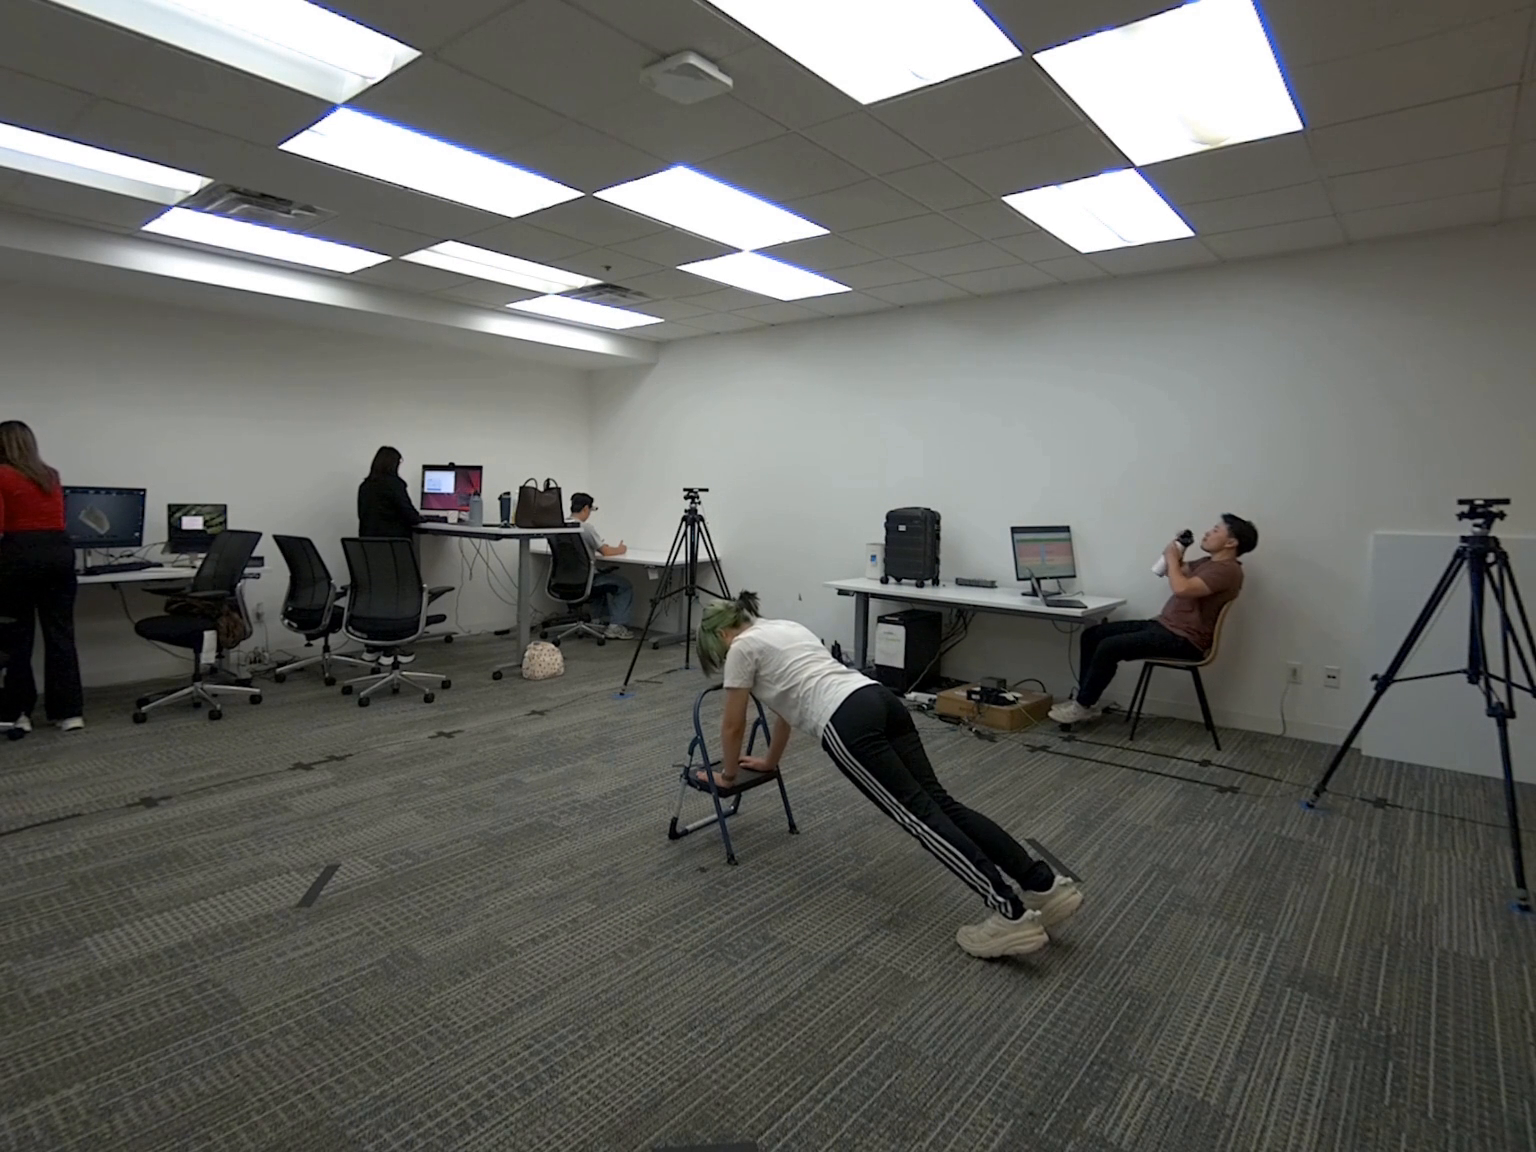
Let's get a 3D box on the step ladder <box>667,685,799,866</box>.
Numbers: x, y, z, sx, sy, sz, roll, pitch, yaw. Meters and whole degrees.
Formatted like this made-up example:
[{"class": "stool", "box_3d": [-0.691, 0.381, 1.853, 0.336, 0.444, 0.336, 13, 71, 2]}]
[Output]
[{"class": "step ladder", "box_3d": [-0.143, 0.740, 3.403, 0.361, 0.604, 0.418, 4, 4, 38]}]
